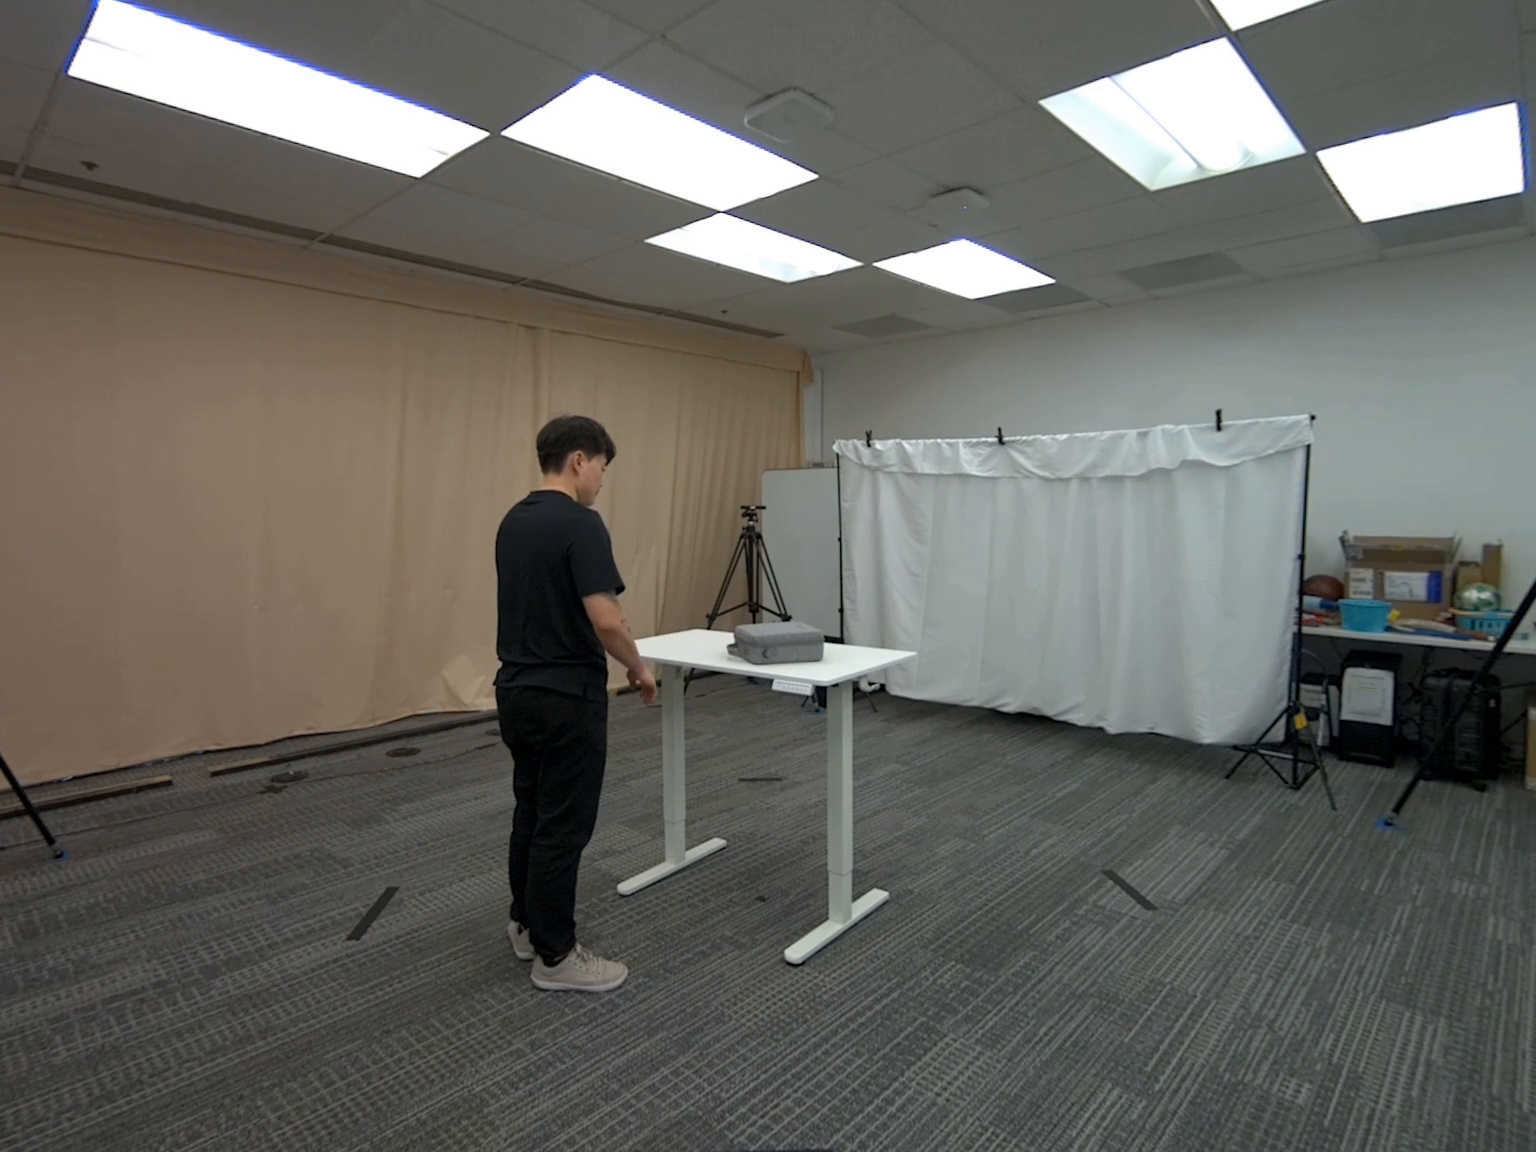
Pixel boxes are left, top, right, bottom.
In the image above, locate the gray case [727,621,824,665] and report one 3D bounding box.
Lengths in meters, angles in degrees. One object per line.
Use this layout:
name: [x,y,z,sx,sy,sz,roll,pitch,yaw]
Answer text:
gray case: [0.033,0.221,2.816,0.257,0.104,0.261,-3,6,-15]
